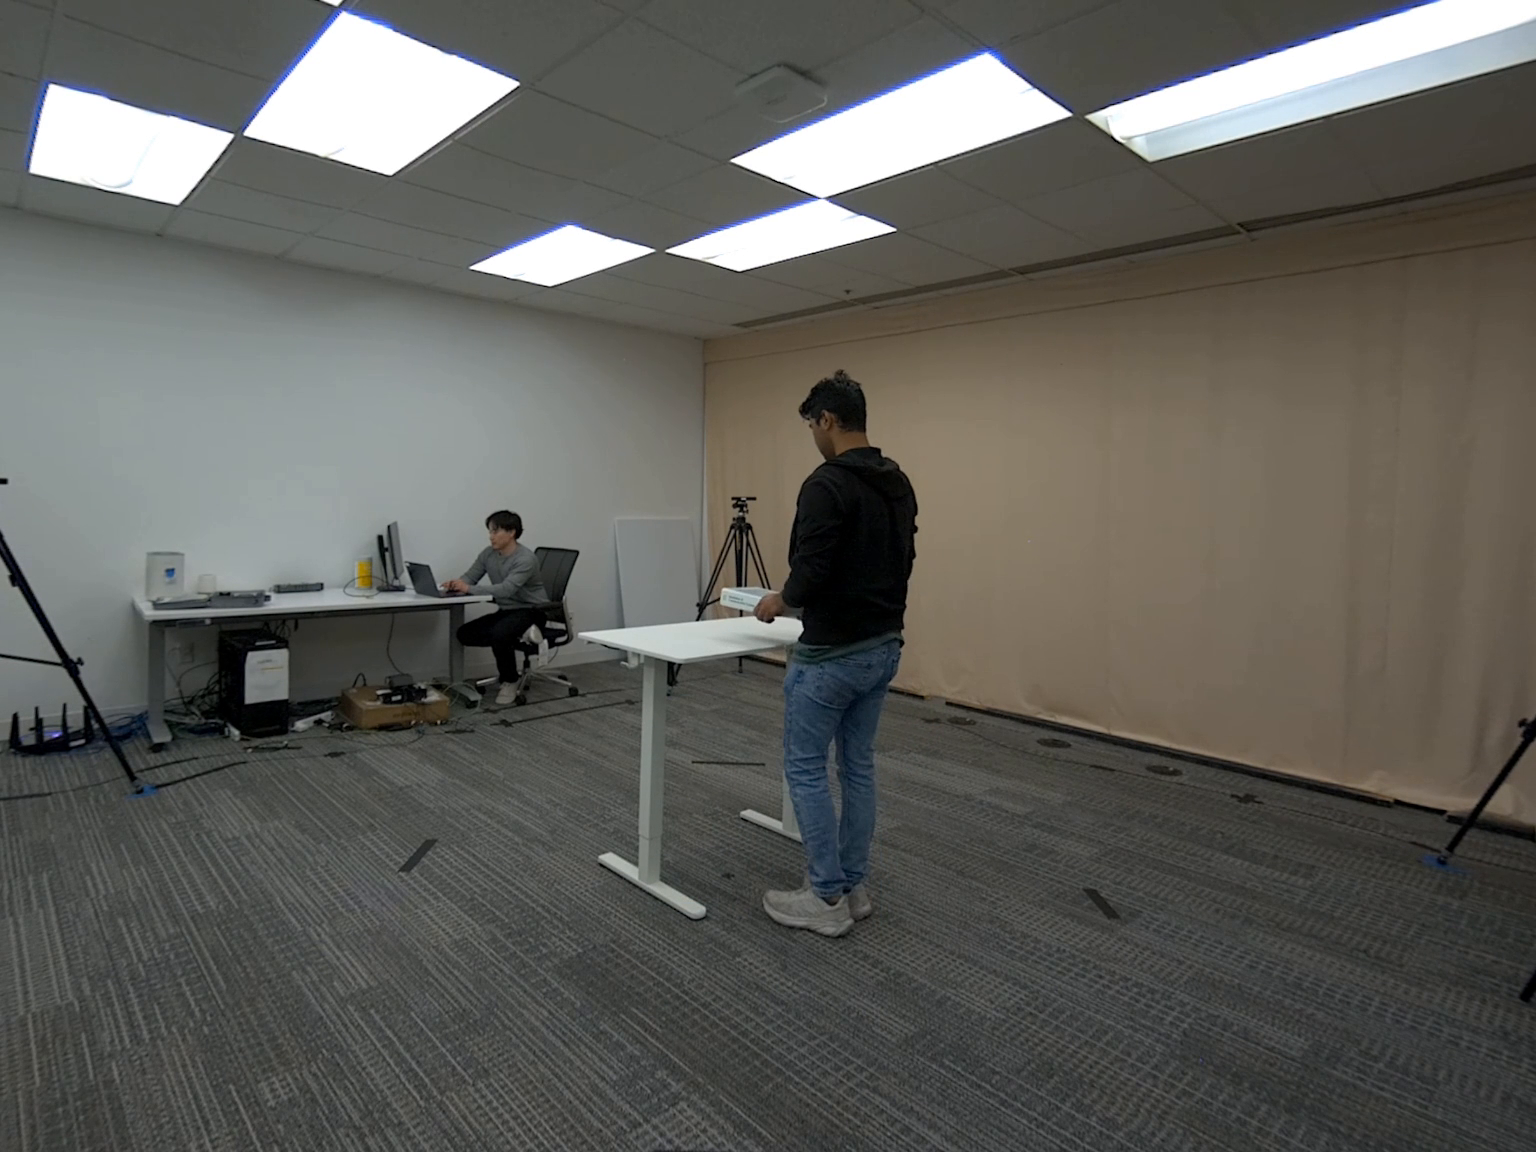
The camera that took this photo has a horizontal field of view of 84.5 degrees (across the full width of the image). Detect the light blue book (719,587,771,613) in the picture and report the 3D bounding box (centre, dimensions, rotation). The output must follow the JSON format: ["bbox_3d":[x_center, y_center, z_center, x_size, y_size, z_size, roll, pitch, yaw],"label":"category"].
[{"bbox_3d":[-0.013,0.098,3.042,0.268,0.059,0.187,10,7,43],"label":"light blue book"}]
